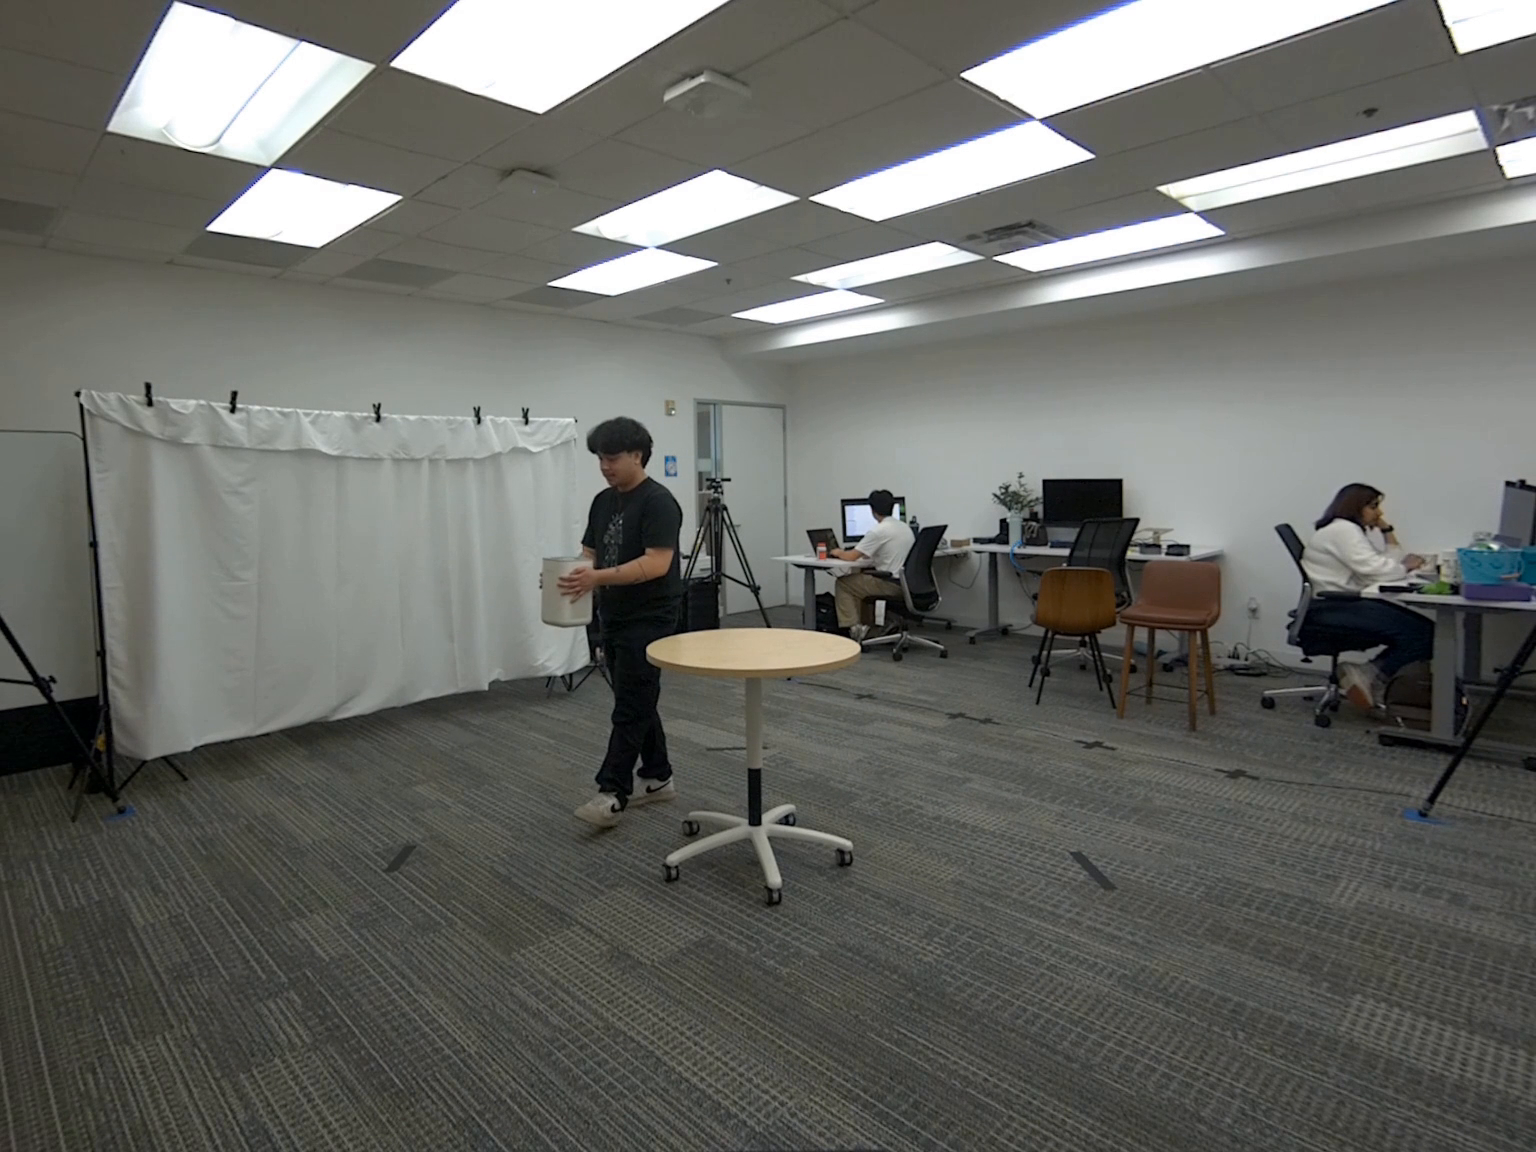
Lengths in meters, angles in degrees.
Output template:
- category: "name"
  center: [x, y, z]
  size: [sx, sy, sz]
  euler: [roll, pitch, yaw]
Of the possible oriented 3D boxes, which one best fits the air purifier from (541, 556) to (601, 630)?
- category: "air purifier"
  center: [-0.774, 0.061, 3.382]
  size: [0.167, 0.265, 0.176]
  euler: [-1, 3, -44]
